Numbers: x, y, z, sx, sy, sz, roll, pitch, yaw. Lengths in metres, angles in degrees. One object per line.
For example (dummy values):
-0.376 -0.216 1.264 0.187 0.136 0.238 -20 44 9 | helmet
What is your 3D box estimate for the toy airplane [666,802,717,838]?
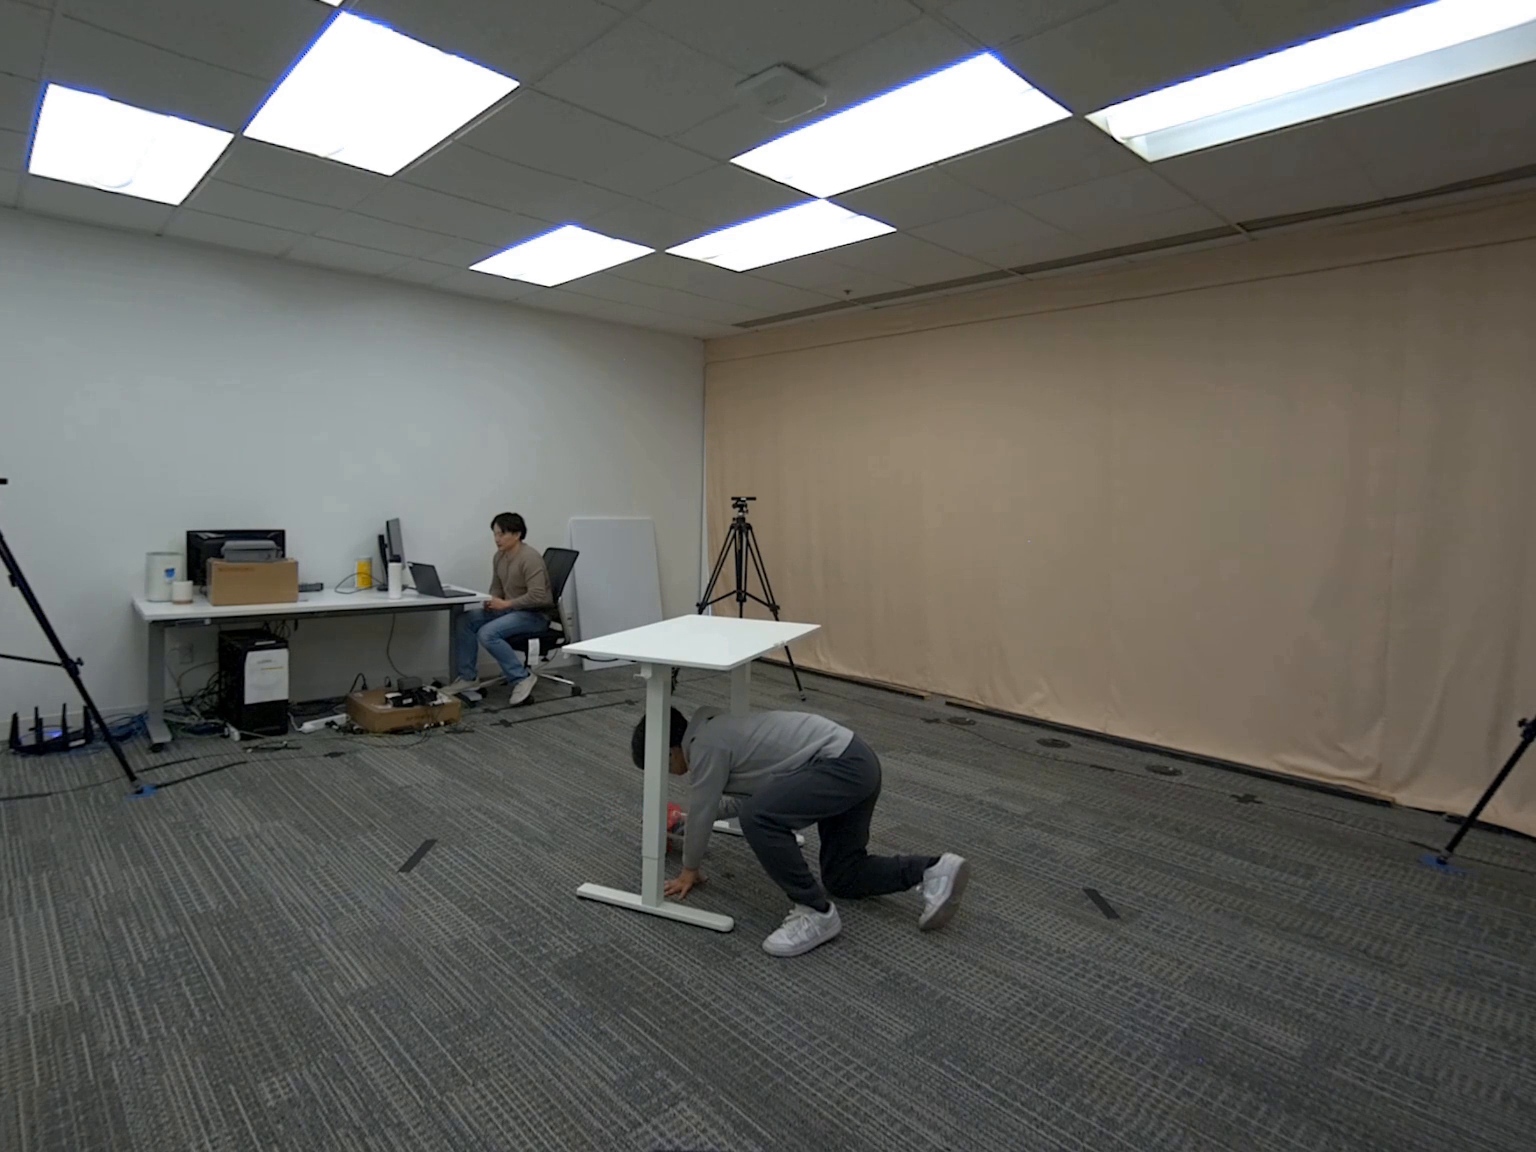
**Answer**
-0.380 1.010 3.334 0.255 0.156 0.256 -2 7 -20 | toy airplane
